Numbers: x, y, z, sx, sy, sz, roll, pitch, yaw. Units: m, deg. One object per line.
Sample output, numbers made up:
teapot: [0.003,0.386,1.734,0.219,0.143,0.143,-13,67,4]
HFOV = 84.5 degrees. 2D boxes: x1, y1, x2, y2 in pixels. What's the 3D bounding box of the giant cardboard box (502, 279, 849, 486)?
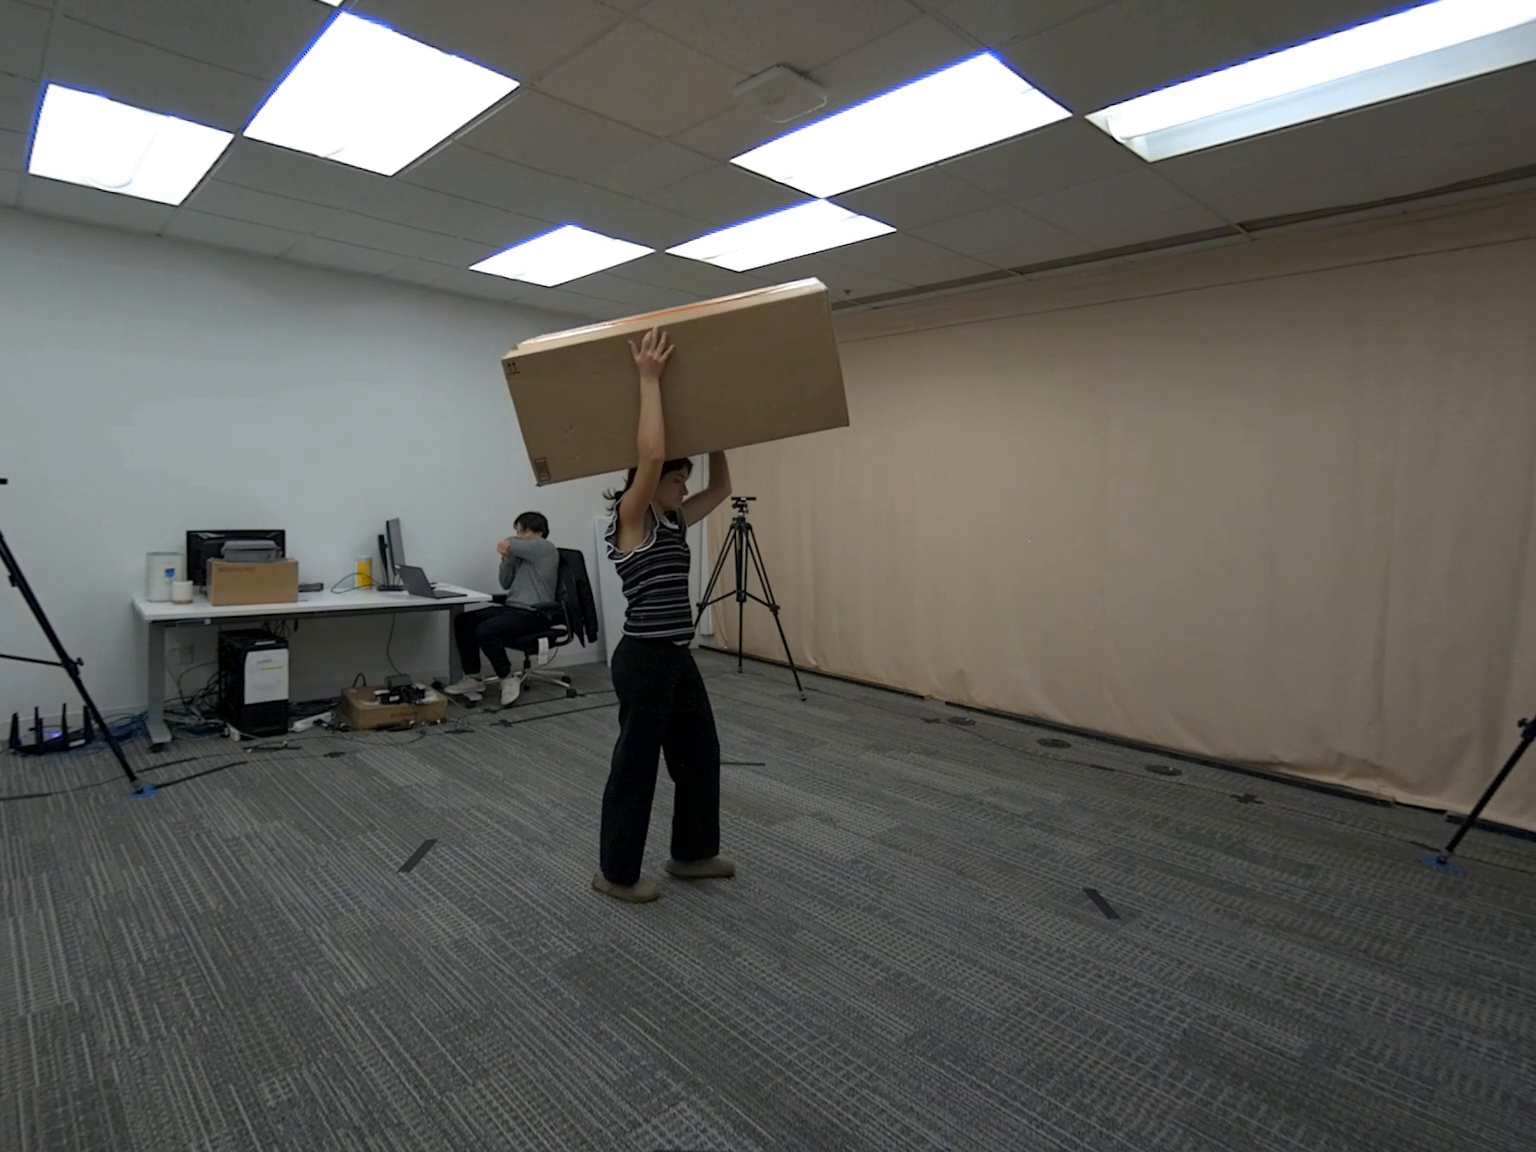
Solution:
giant cardboard box: [-0.288,-0.681,2.861,1.029,0.419,0.586,-11,21,5]
